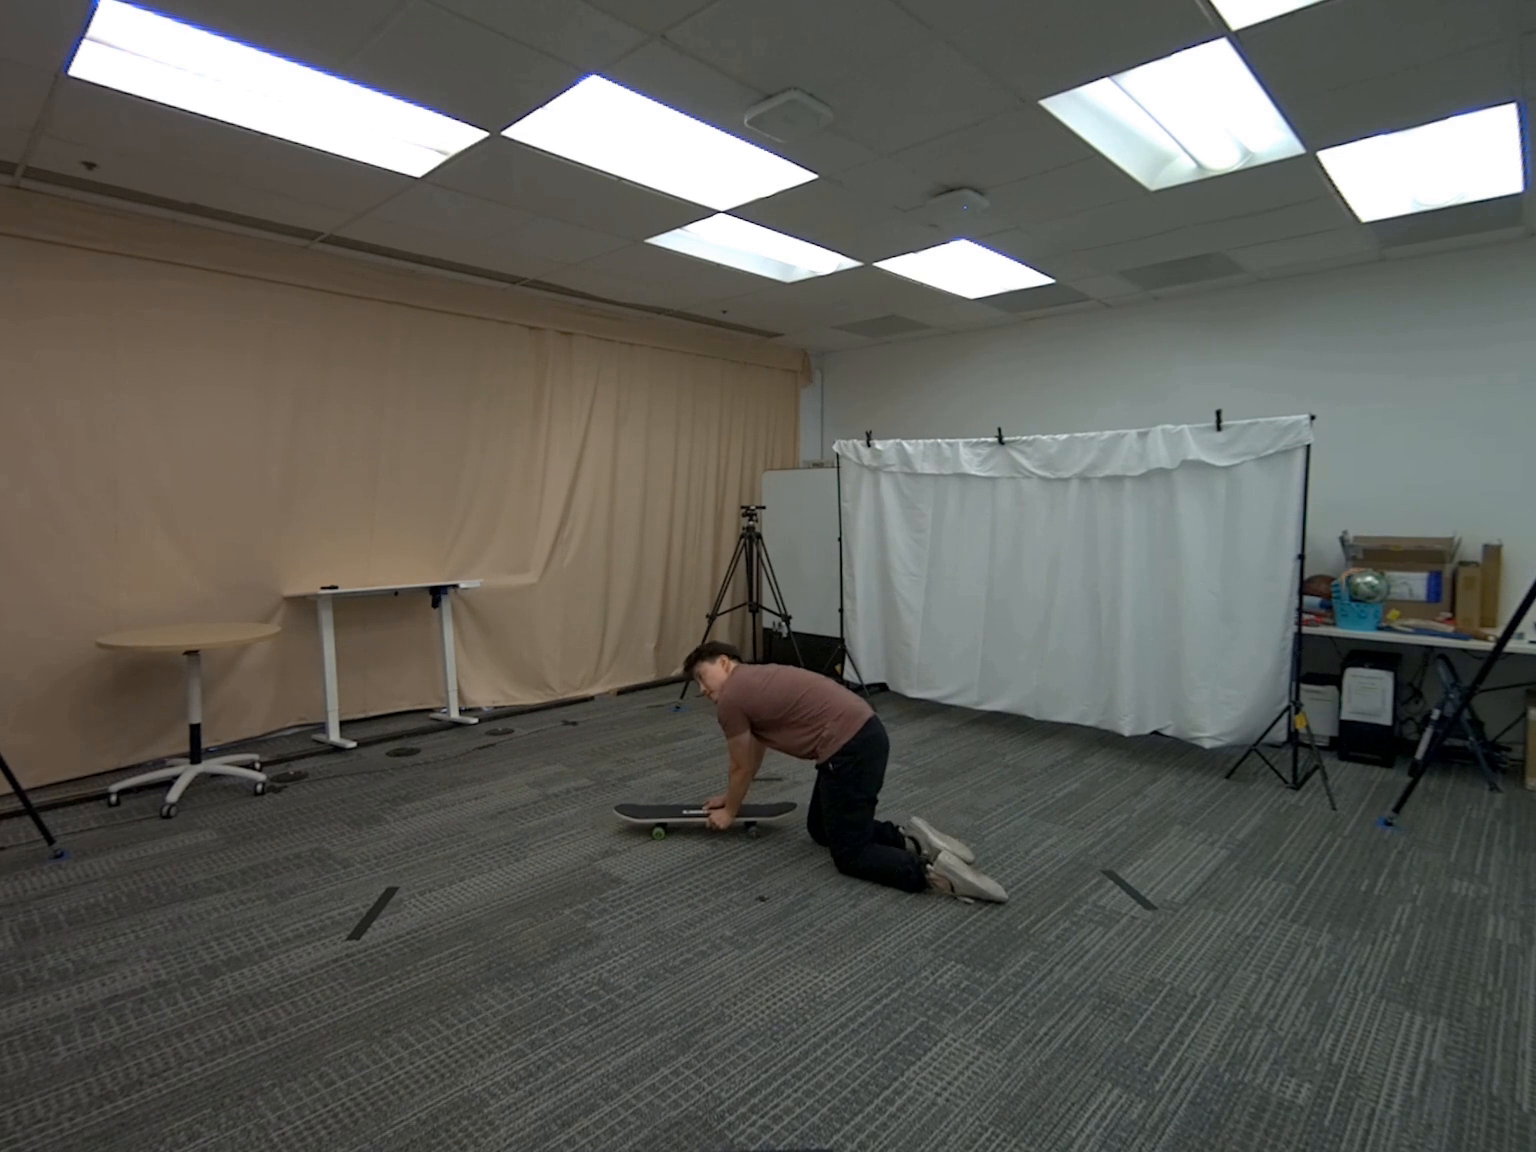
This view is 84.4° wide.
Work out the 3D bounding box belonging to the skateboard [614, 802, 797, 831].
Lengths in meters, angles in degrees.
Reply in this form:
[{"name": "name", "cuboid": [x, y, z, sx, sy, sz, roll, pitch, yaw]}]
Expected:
[{"name": "skateboard", "cuboid": [-0.262, 1.043, 3.602, 0.784, 0.110, 0.194, -1, 2, -2]}]
